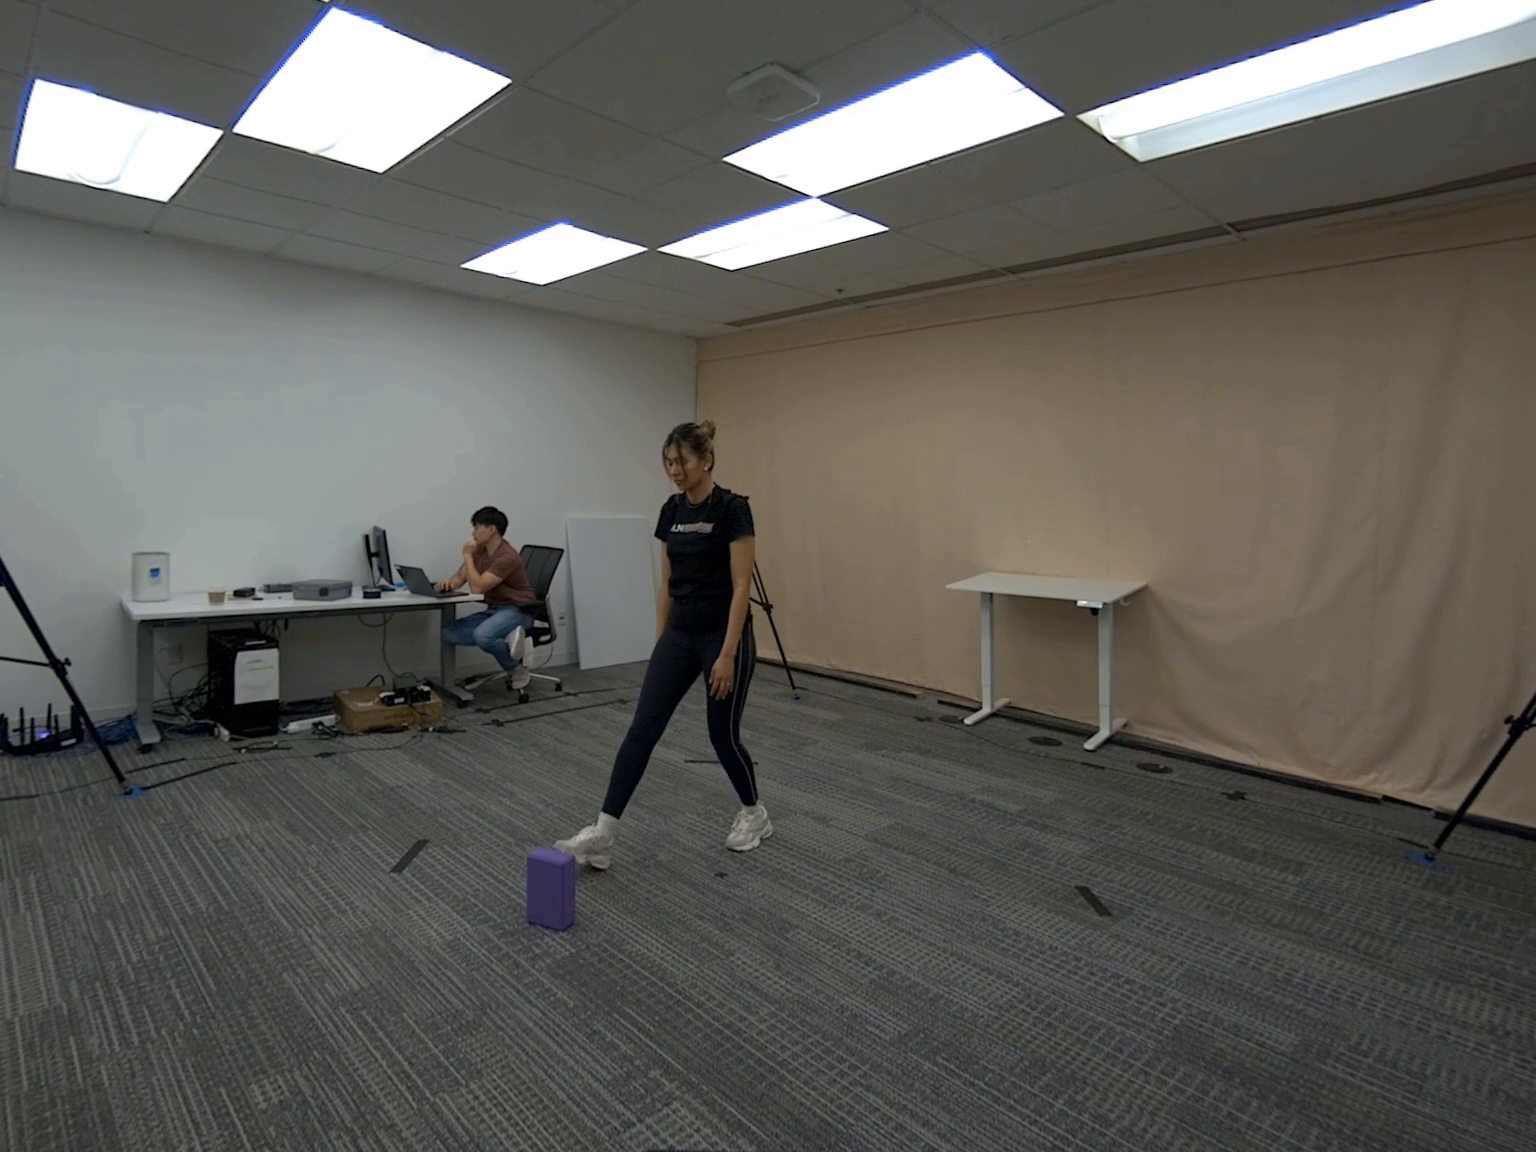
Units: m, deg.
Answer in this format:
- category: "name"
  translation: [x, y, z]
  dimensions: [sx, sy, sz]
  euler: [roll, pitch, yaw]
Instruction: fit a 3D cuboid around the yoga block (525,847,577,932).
- category: "yoga block"
  translation: [-0.713, 1.010, 2.721]
  dimensions: [0.151, 0.229, 0.075]
  euler: [2, 4, 21]
